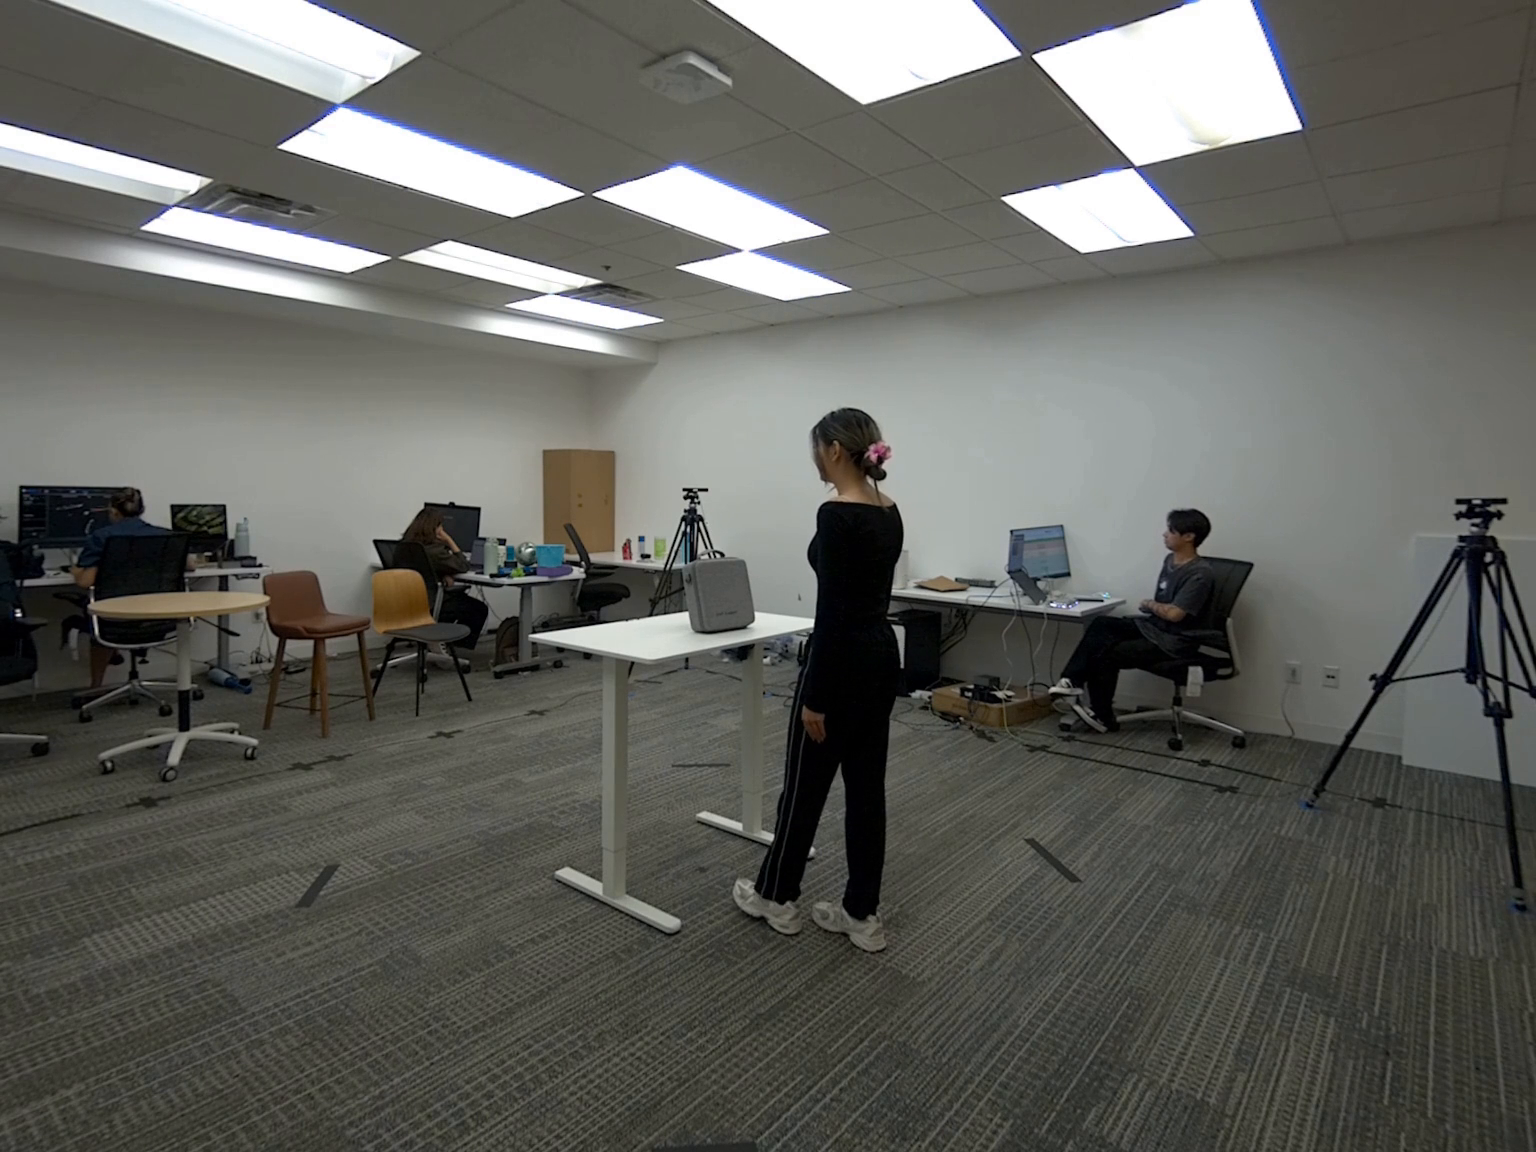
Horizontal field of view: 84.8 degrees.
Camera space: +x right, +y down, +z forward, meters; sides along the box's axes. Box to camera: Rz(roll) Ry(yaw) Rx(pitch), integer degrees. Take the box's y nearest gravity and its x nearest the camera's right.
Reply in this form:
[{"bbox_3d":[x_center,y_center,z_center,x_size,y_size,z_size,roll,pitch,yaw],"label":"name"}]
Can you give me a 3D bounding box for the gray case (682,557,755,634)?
[{"bbox_3d":[-0.186,0.061,3.065,0.249,0.263,0.107,-3,-9,-44],"label":"gray case"}]
